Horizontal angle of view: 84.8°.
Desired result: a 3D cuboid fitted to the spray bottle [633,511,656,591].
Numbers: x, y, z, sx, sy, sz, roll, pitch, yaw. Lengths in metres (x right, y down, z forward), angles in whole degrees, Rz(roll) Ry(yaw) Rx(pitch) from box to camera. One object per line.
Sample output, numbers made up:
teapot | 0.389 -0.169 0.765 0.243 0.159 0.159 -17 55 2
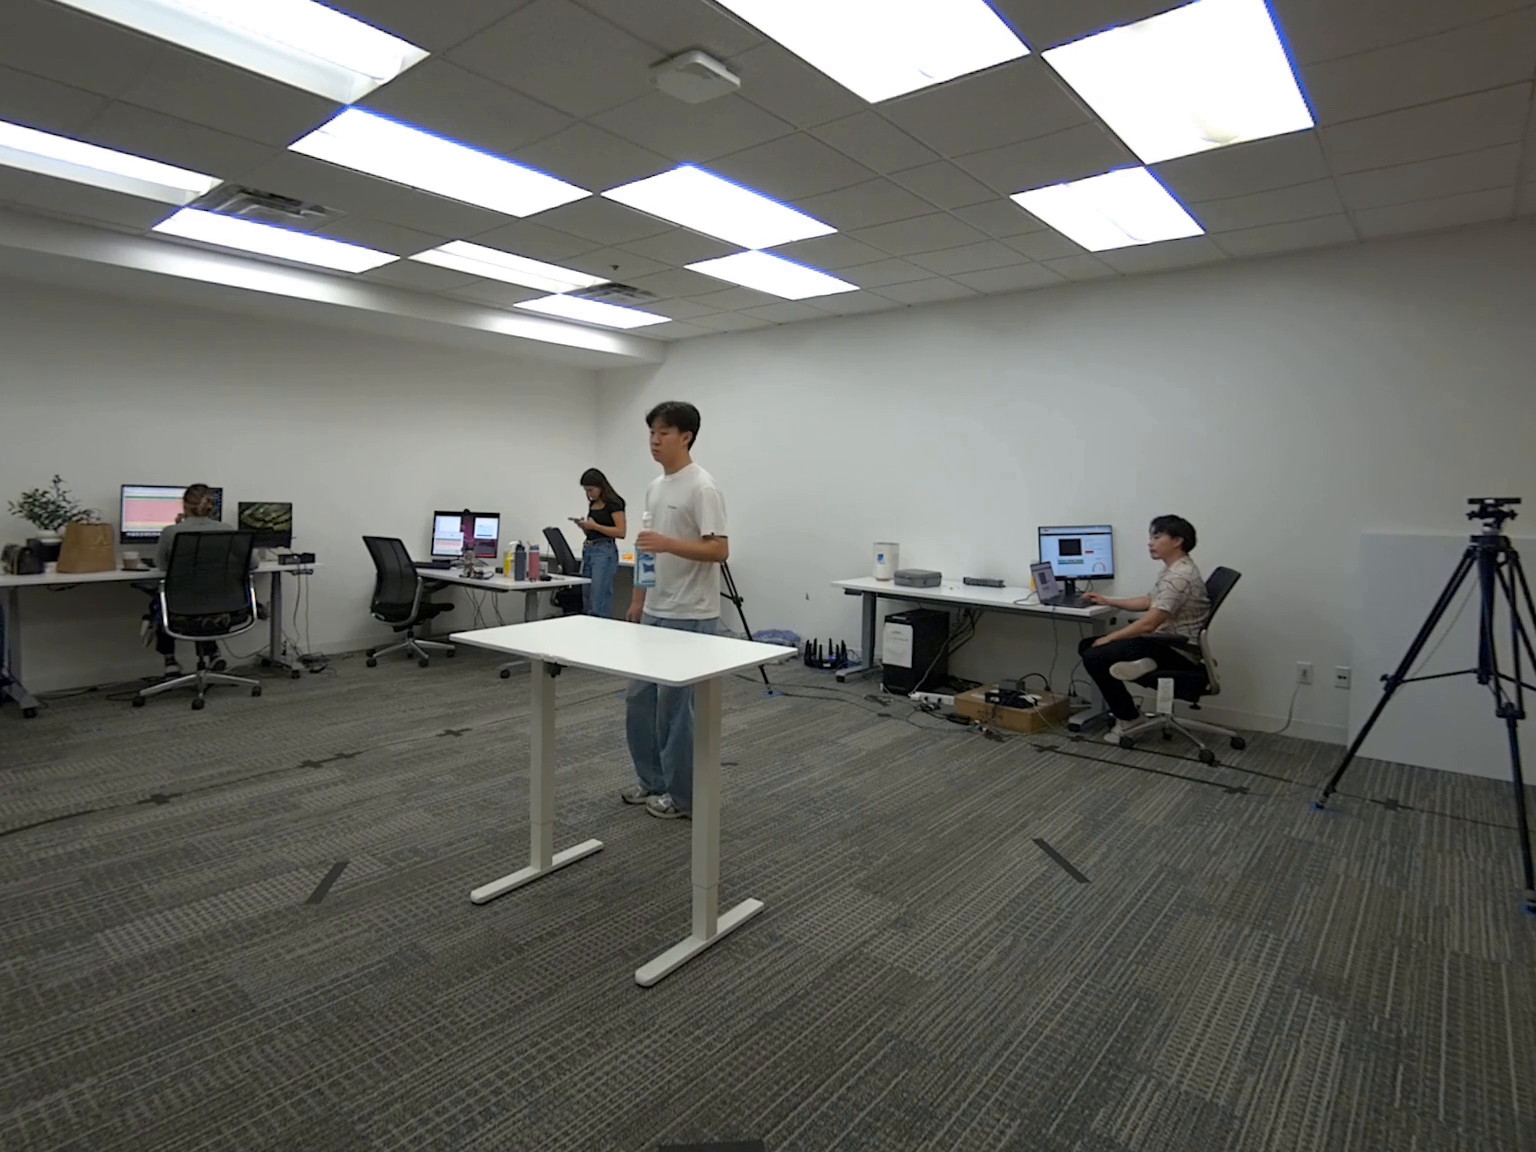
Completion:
spray bottle | -0.487 -0.108 3.382 0.090 0.297 0.087 1 1 33
